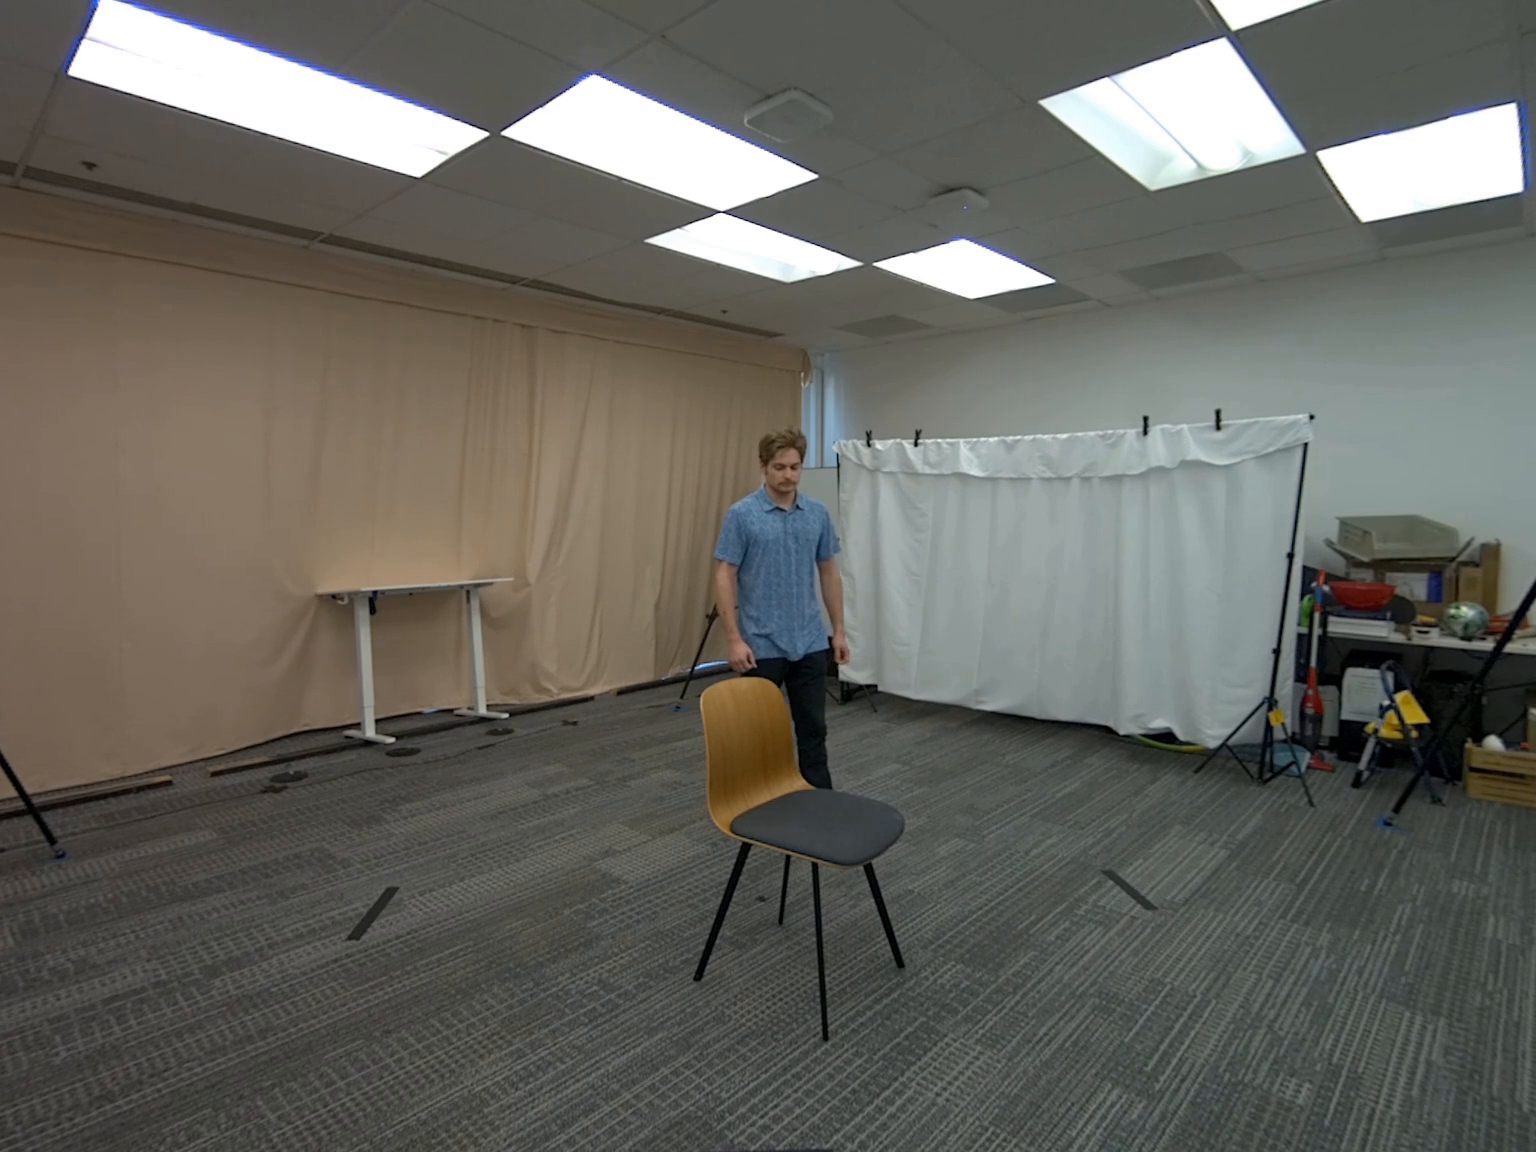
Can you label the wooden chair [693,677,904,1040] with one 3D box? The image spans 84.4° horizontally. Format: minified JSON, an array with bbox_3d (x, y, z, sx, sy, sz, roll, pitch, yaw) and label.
[{"bbox_3d":[0.107,0.755,2.469,0.539,0.877,0.464,-3,0,37],"label":"wooden chair"}]
